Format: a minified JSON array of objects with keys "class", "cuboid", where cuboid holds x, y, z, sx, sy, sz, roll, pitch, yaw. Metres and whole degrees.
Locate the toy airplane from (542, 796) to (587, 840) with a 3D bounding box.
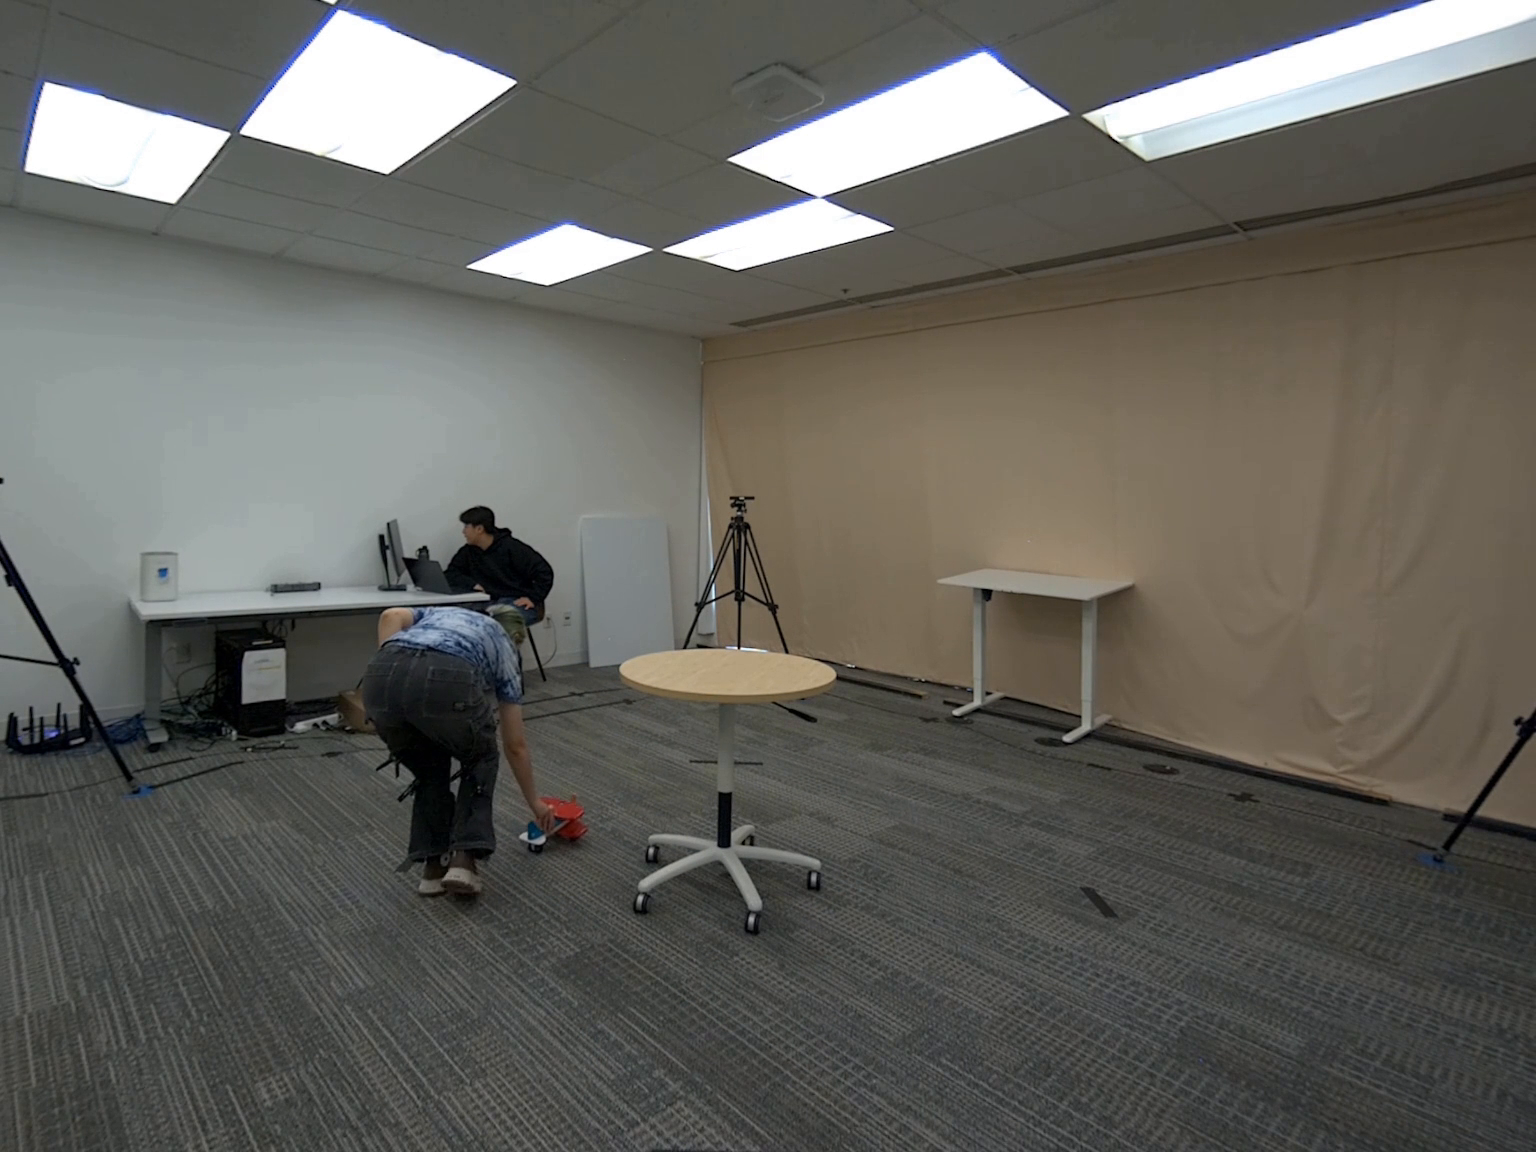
[{"class":"toy airplane","cuboid":[-0.849,0.993,3.335,0.252,0.156,0.259,0,3,2]}]
